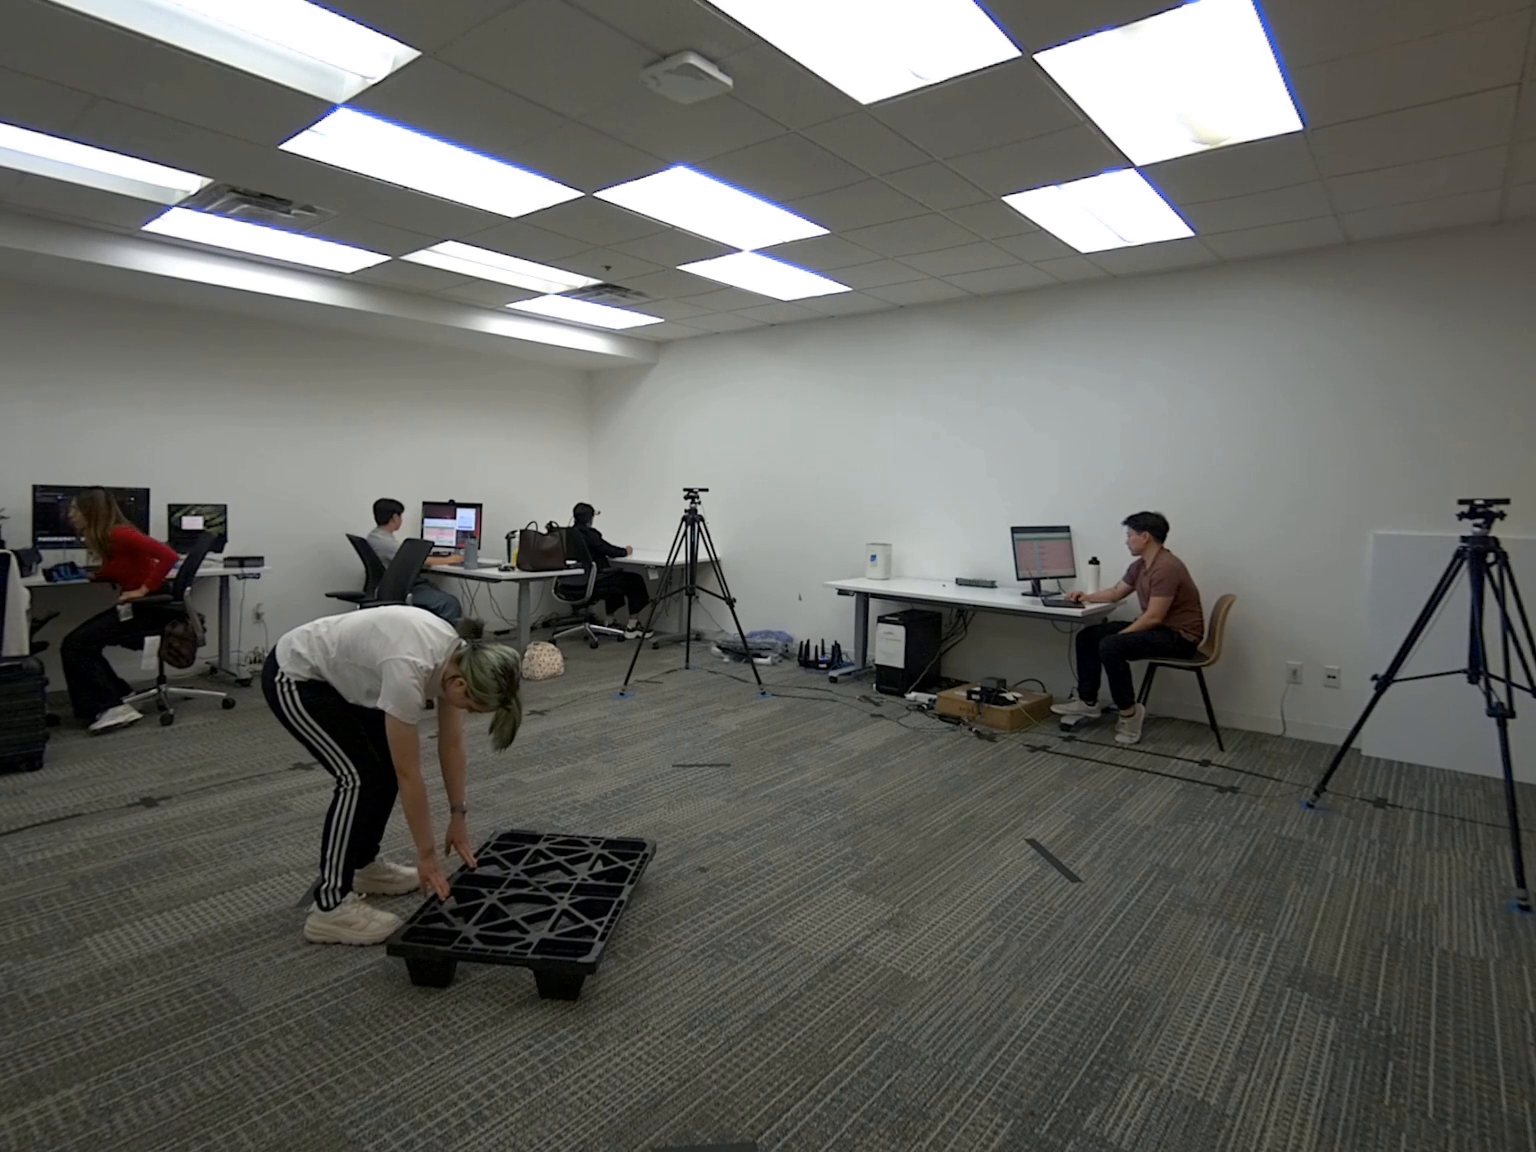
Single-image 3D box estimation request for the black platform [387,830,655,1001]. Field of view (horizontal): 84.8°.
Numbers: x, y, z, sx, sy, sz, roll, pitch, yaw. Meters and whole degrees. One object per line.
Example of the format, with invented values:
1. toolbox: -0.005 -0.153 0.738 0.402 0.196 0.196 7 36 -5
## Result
1. black platform: -0.736 1.034 2.679 0.610 0.143 0.803 0 6 6
